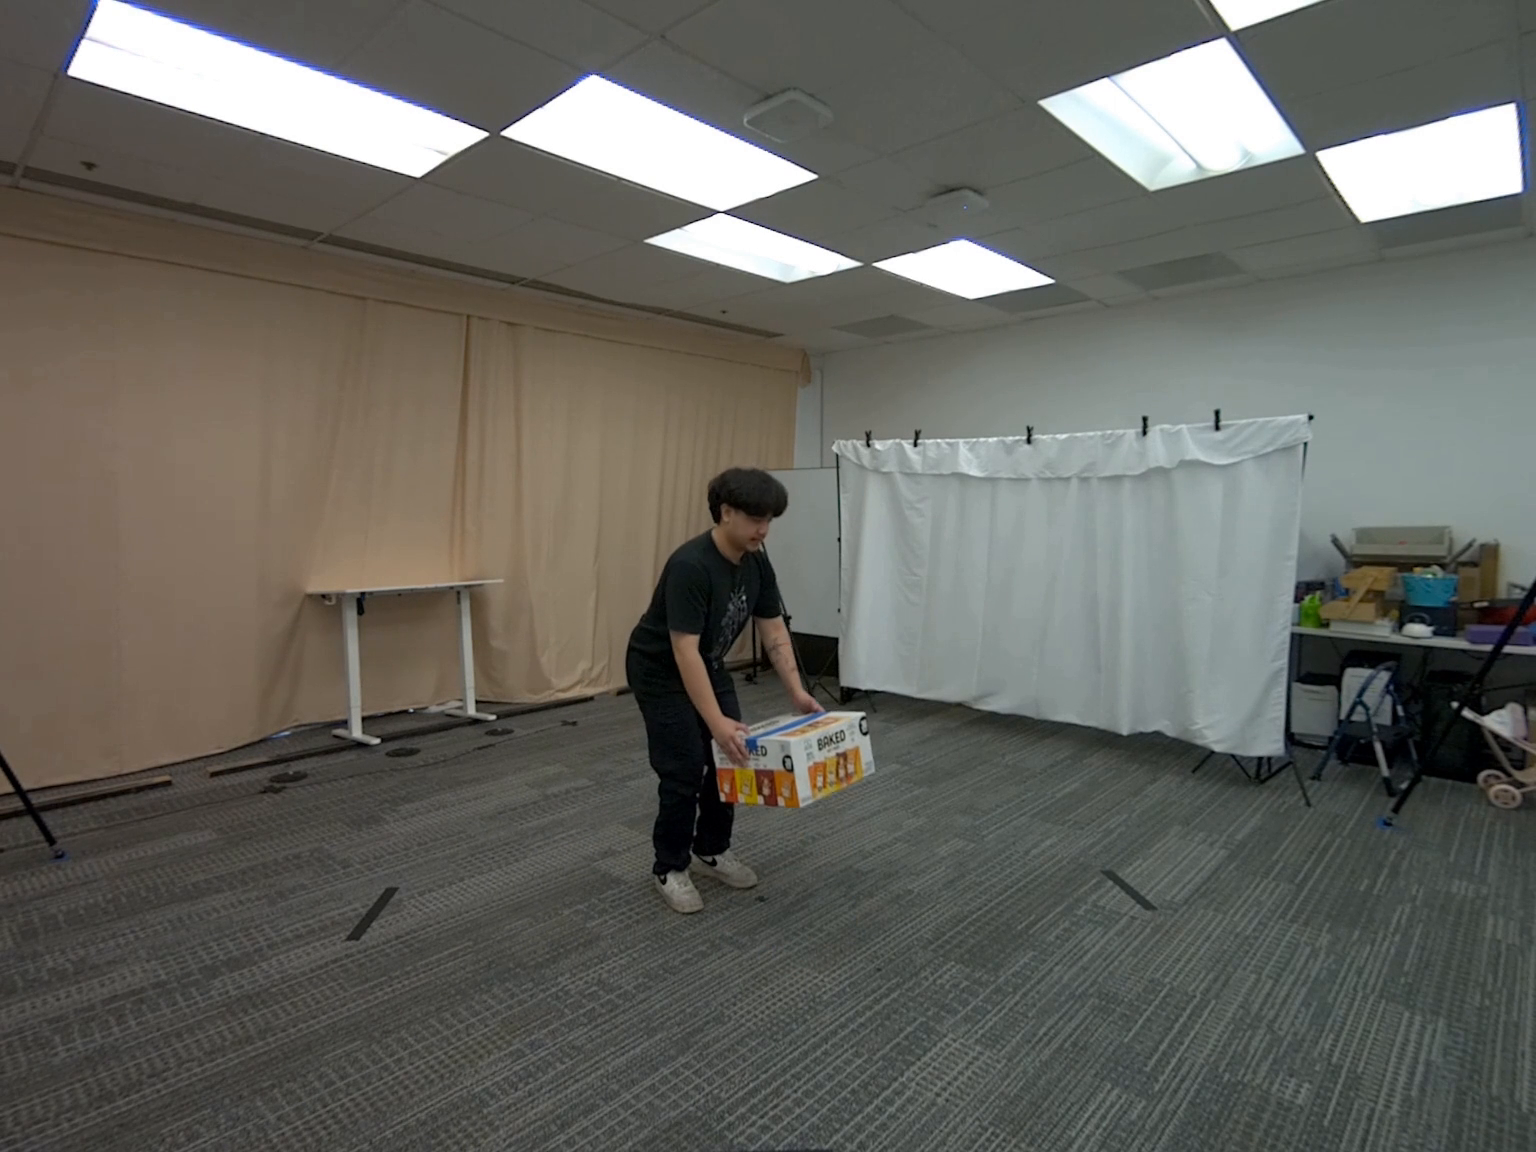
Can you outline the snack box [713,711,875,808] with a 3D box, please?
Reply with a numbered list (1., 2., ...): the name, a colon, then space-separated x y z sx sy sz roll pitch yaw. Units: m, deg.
1. snack box: 0.090 0.598 2.770 0.350 0.206 0.393 -9 -1 42
